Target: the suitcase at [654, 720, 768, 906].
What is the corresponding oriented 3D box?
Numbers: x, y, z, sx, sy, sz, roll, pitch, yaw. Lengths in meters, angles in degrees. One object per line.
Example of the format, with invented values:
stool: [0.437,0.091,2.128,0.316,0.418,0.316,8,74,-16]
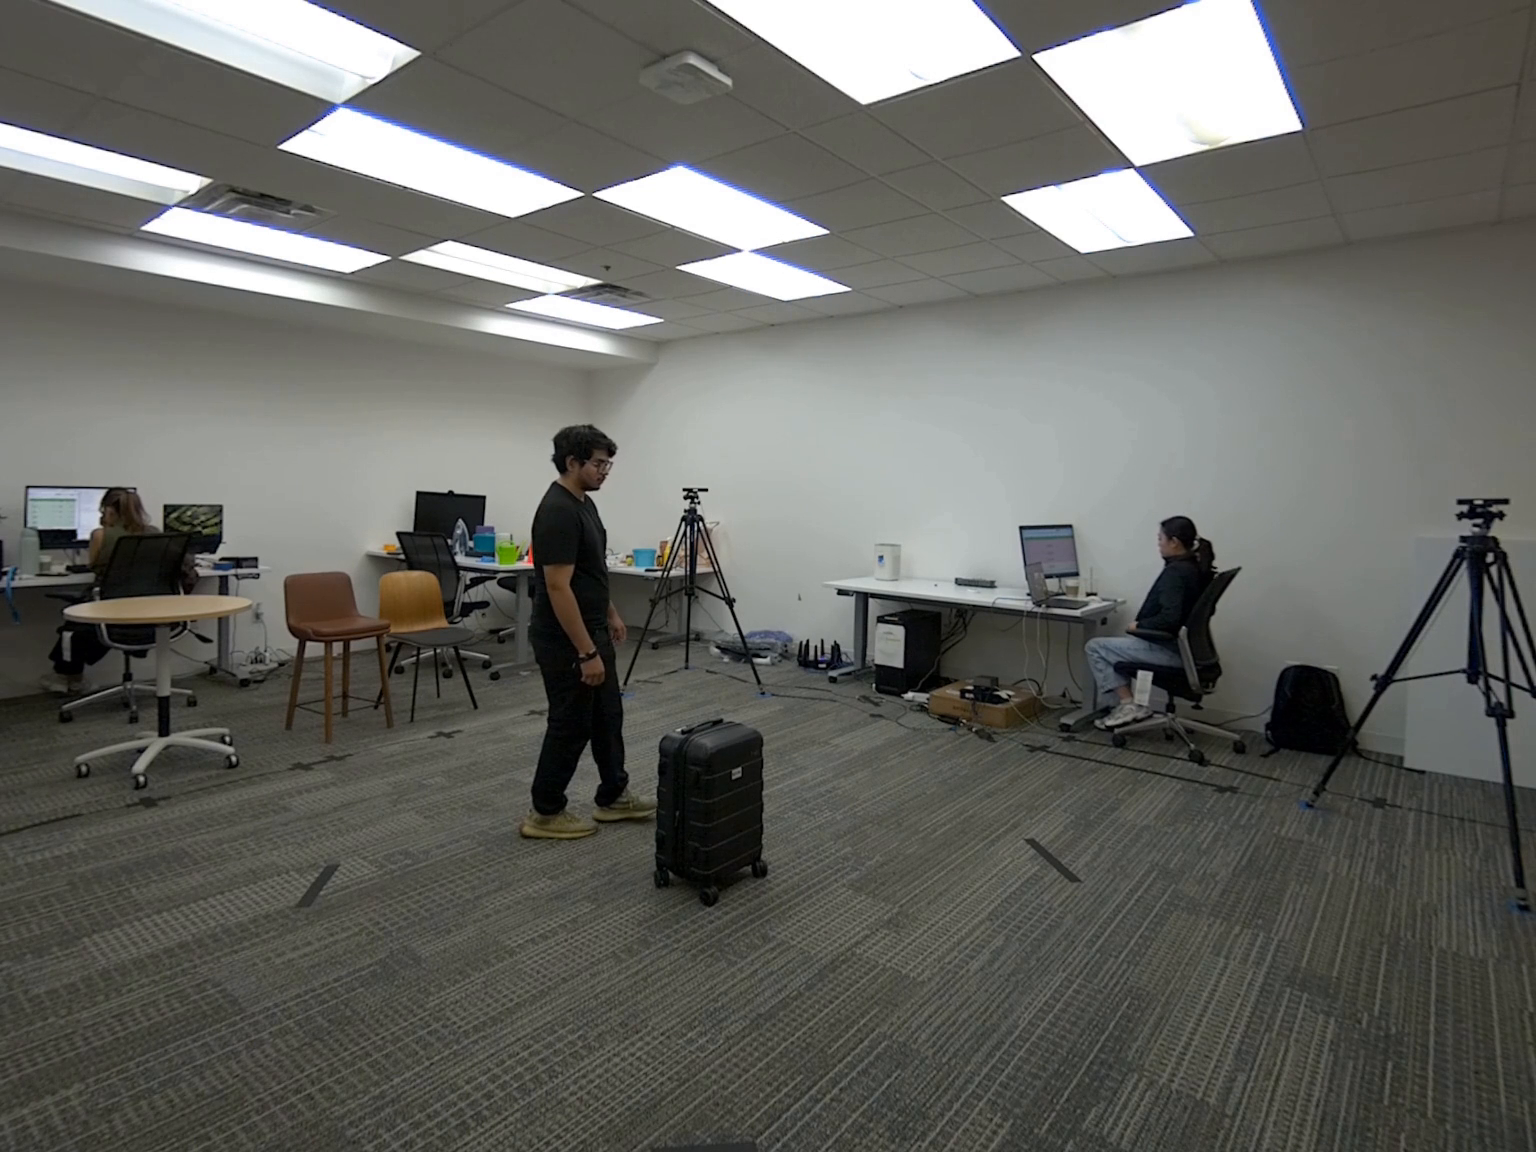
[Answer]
suitcase: [-0.210,0.802,3.029,0.256,0.548,0.364,2,3,37]
